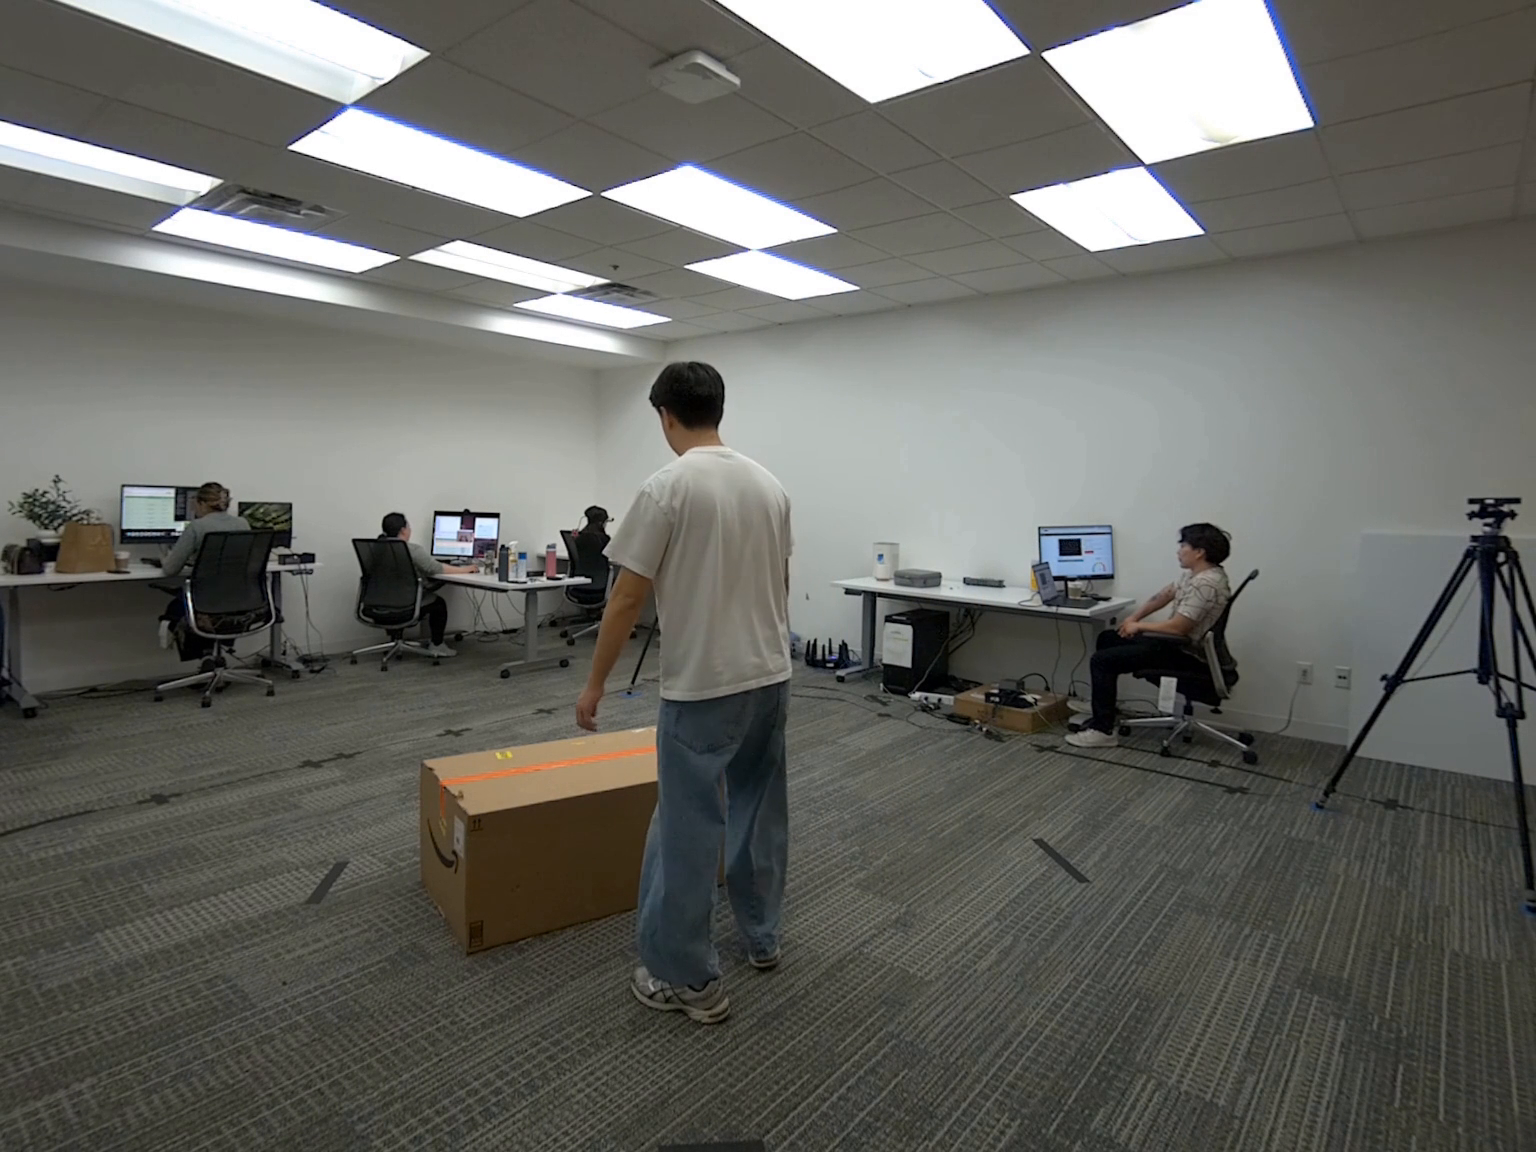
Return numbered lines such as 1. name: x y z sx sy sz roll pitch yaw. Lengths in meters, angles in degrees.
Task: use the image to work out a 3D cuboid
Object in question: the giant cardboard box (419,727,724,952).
1. giant cardboard box: -0.647 0.856 2.996 0.997 0.425 0.596 -2 5 -34
